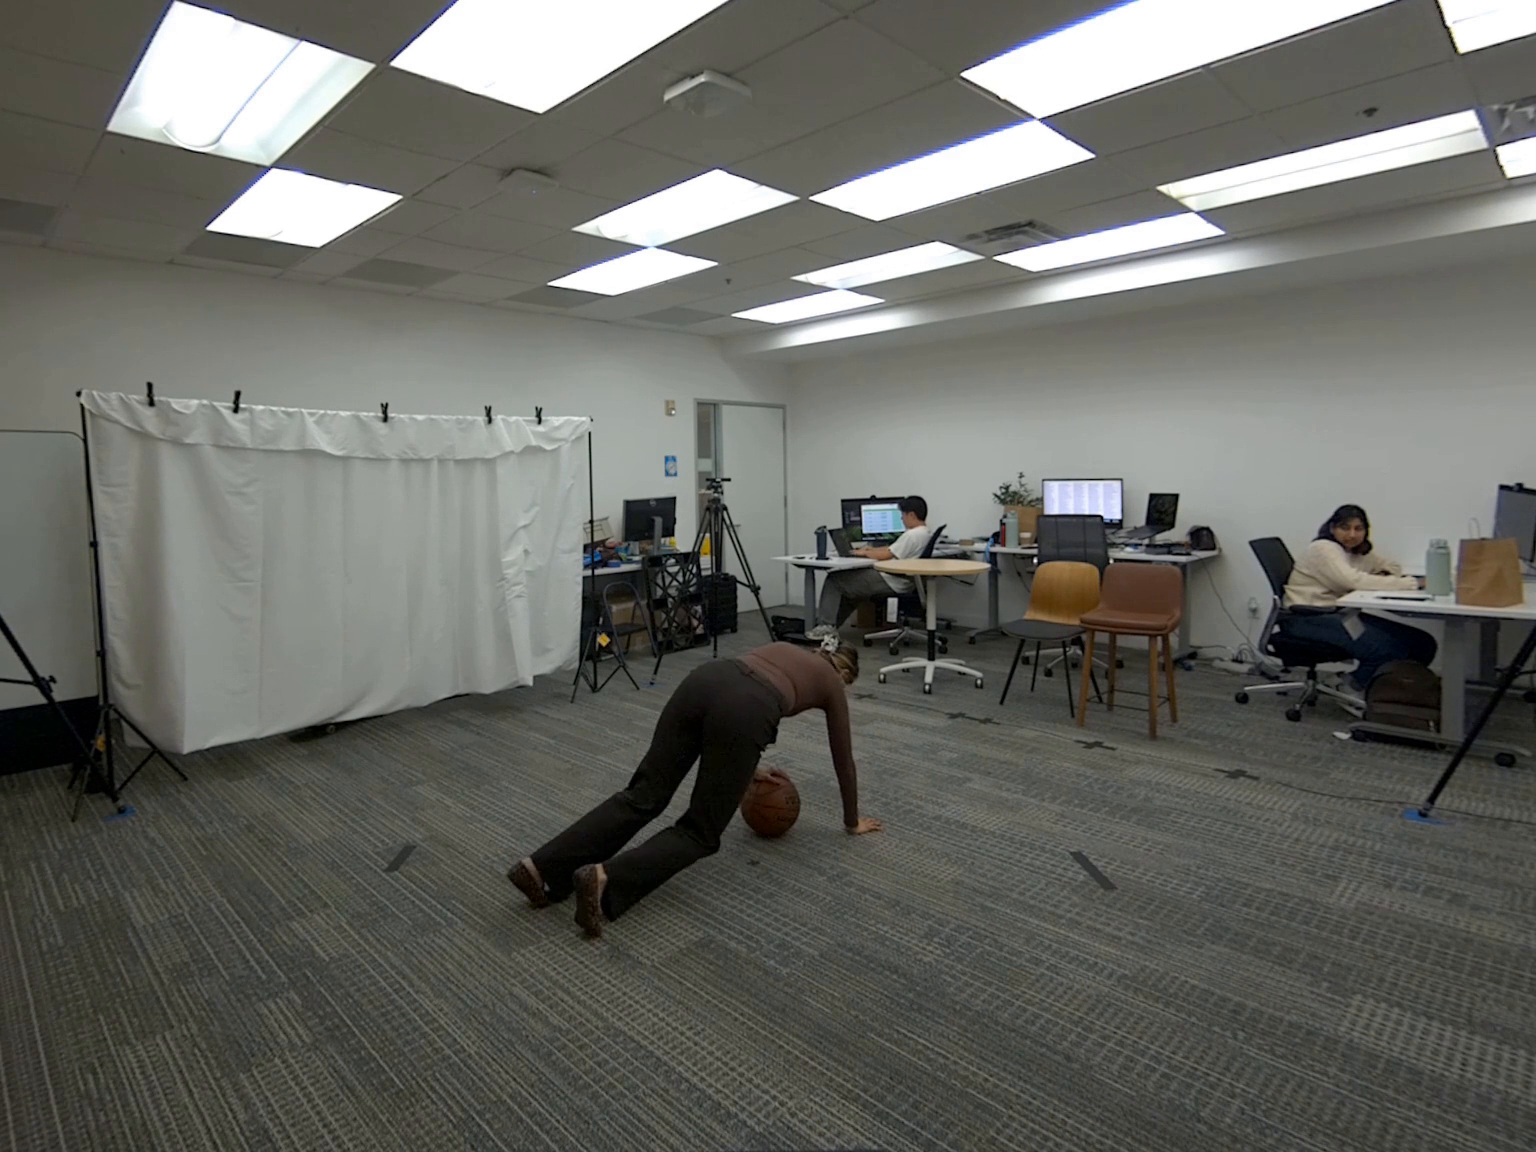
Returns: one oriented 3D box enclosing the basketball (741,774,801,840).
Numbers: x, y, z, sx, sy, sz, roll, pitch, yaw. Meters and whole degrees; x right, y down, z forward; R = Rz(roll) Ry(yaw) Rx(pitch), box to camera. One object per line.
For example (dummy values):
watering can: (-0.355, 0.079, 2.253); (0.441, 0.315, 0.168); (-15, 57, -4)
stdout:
basketball: (0.009, 0.891, 3.366); (0.236, 0.235, 0.237); (-1, 5, -2)
